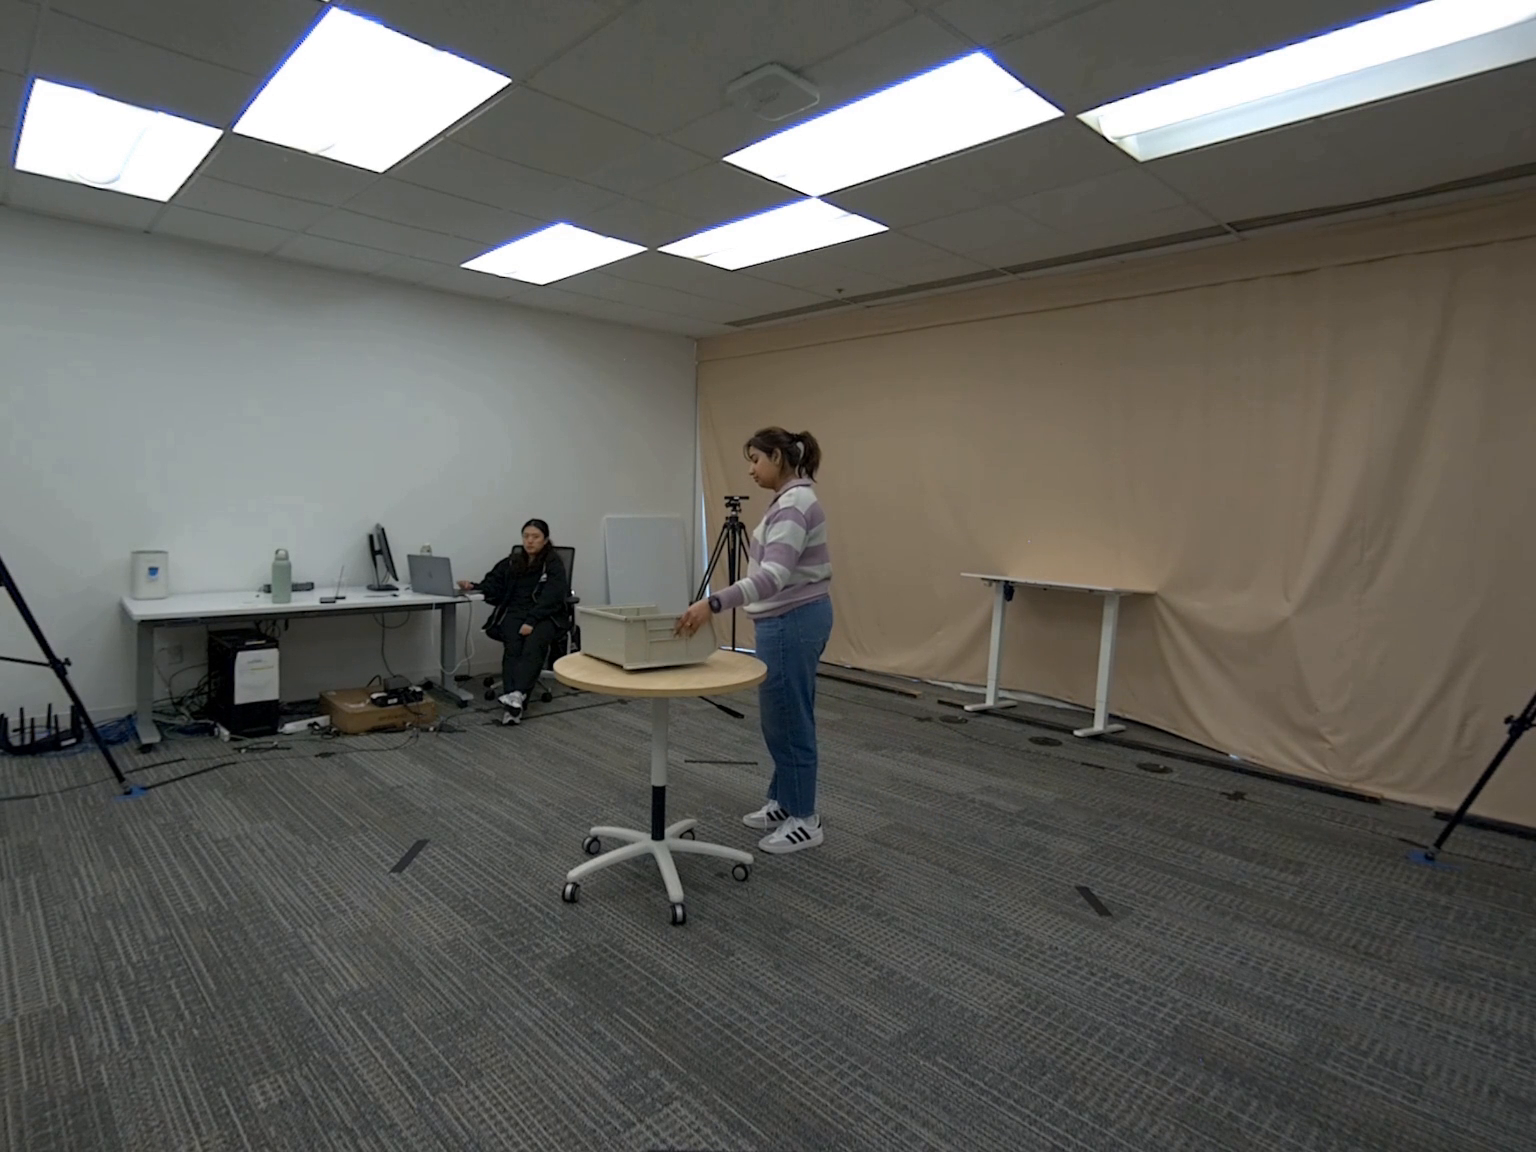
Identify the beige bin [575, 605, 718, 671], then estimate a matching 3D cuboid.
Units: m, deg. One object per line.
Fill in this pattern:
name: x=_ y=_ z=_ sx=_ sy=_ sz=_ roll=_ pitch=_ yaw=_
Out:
beige bin: x=-0.462 y=0.213 z=3.104 sx=0.369 sy=0.188 sz=0.432 roll=-4 pitch=5 yaw=-34
